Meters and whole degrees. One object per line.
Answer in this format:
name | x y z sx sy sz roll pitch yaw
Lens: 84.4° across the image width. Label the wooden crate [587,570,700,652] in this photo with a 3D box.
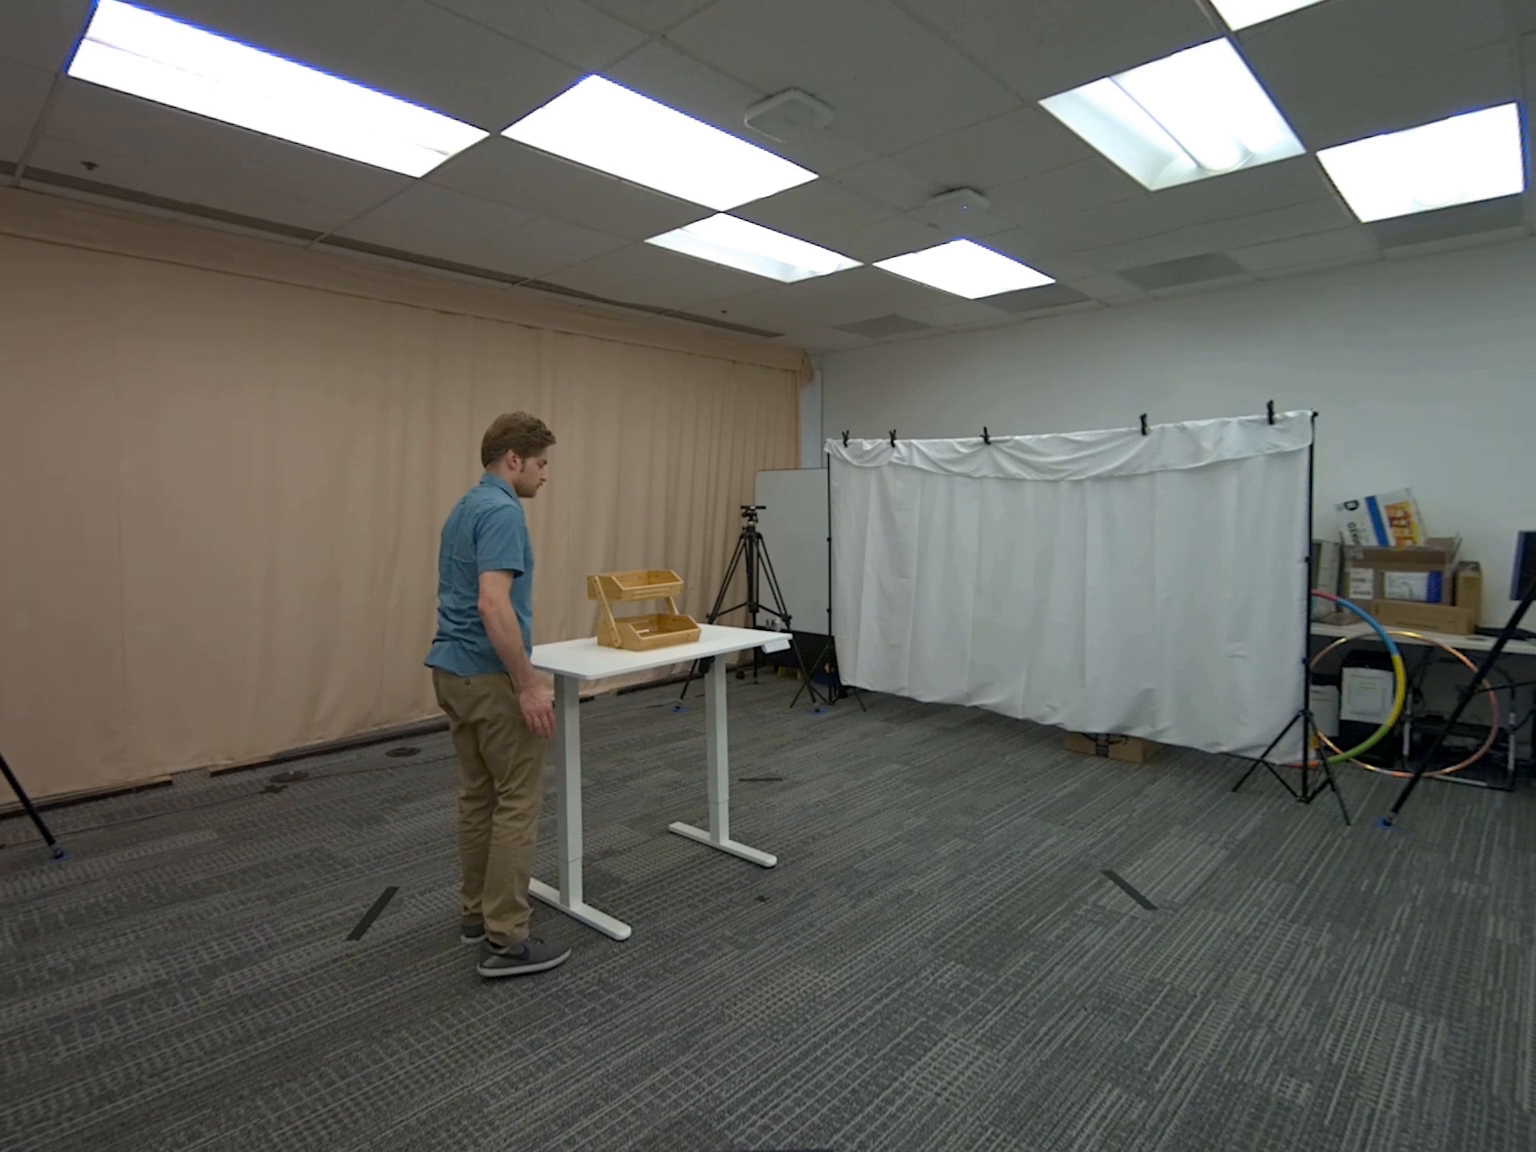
wooden crate | -0.457 0.117 3.152 0.312 0.273 0.314 2 4 43
